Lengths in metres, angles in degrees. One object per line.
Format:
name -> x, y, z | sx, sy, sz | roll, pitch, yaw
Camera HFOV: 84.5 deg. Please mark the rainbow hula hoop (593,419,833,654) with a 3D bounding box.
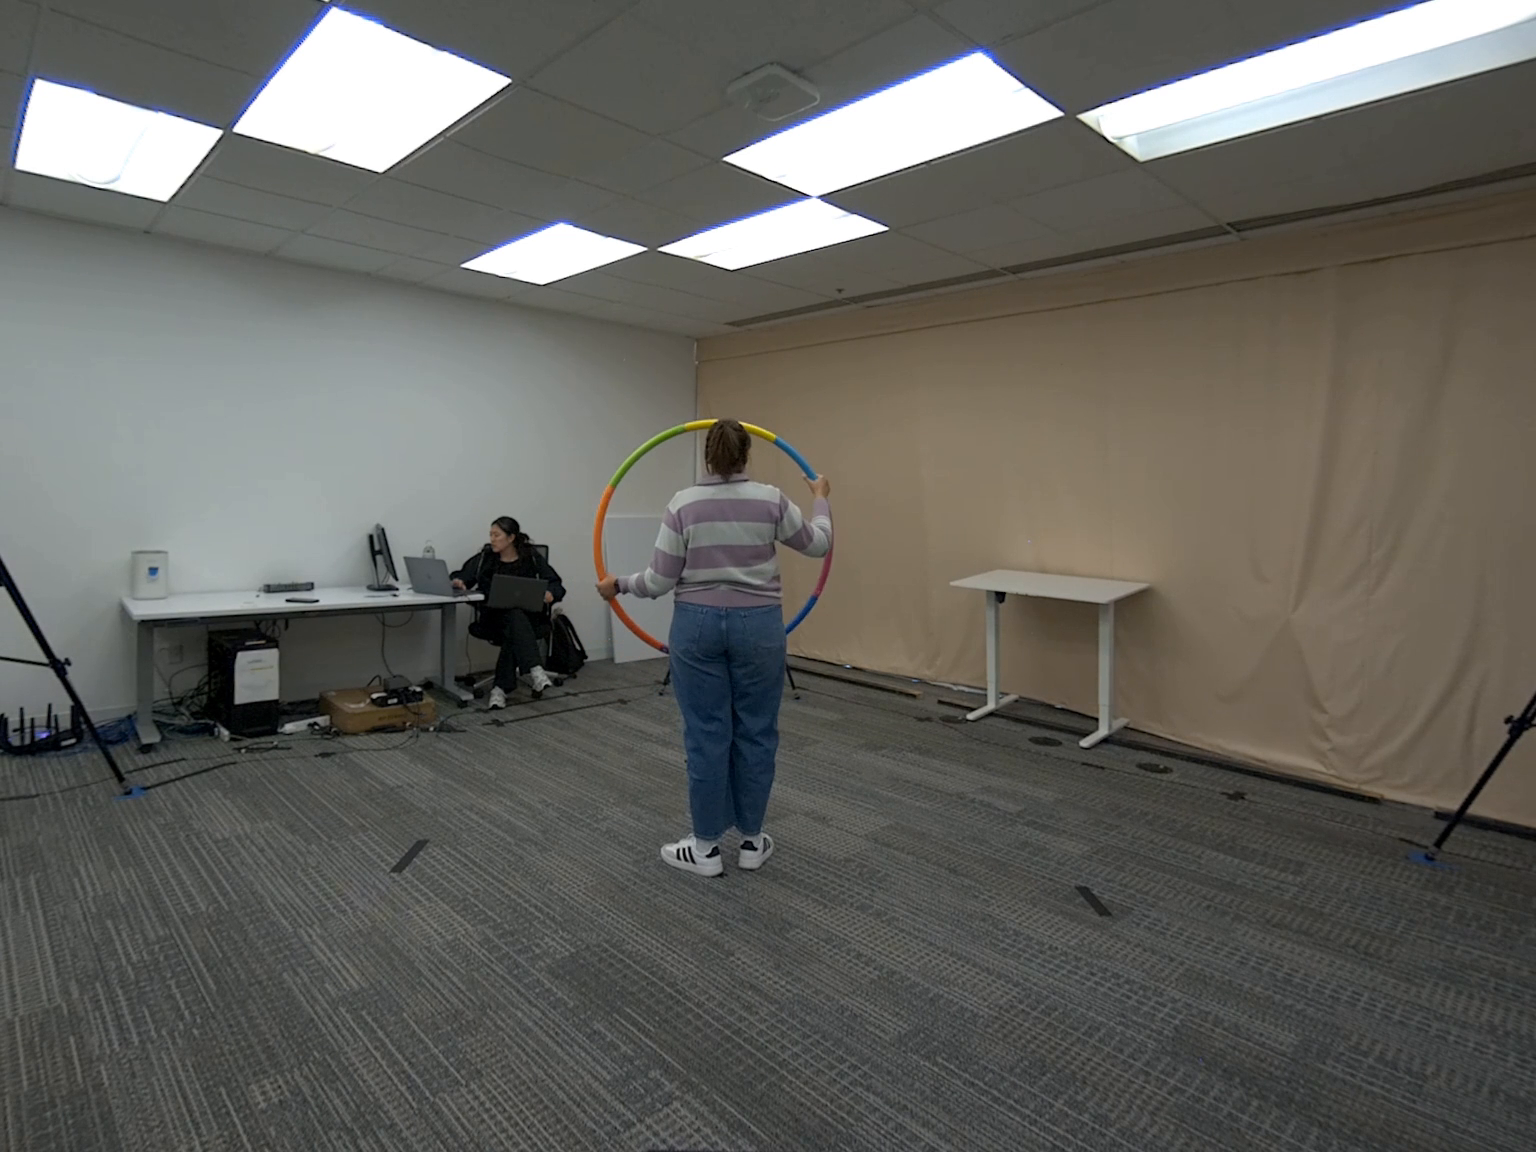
rainbow hula hoop -> -0.211, -0.133, 3.402 | 0.969, 0.972, 0.036 | 1, 9, -12
